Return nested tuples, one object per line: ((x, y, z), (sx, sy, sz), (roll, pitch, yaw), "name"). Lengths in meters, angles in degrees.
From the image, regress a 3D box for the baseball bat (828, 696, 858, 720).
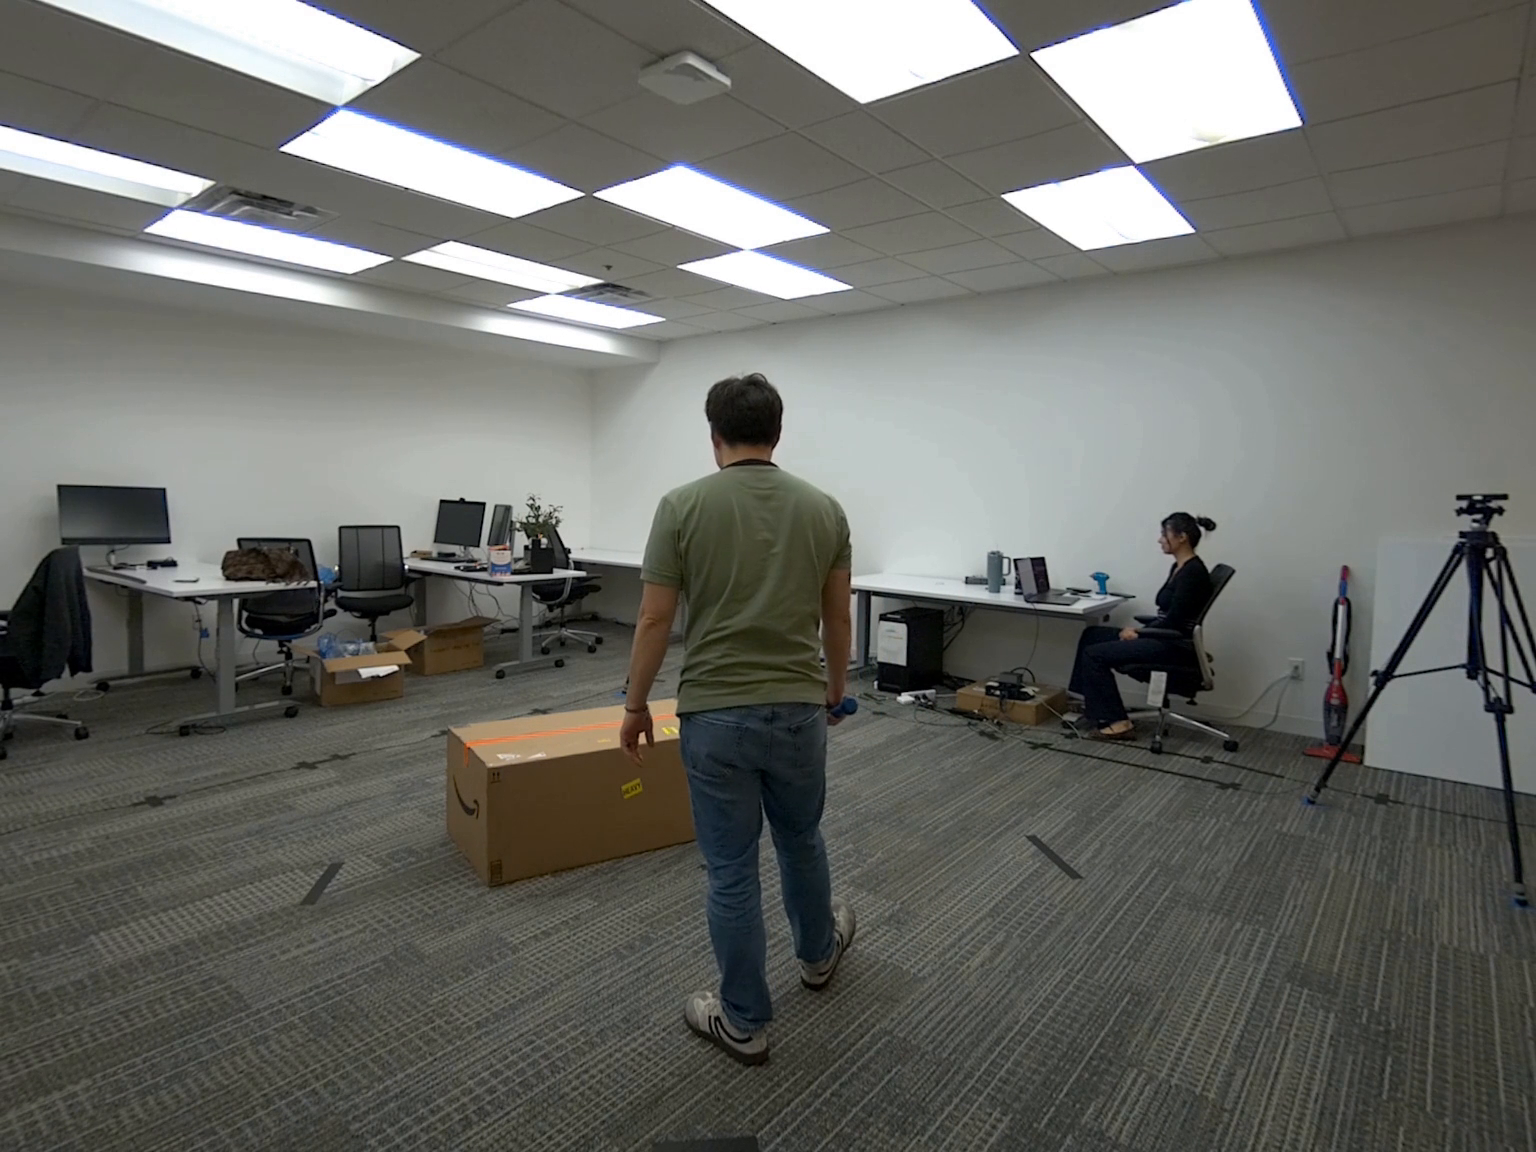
((0.089, 0.427, 2.457), (0.087, 0.091, 0.545), (-1, -18, -26), "baseball bat")
